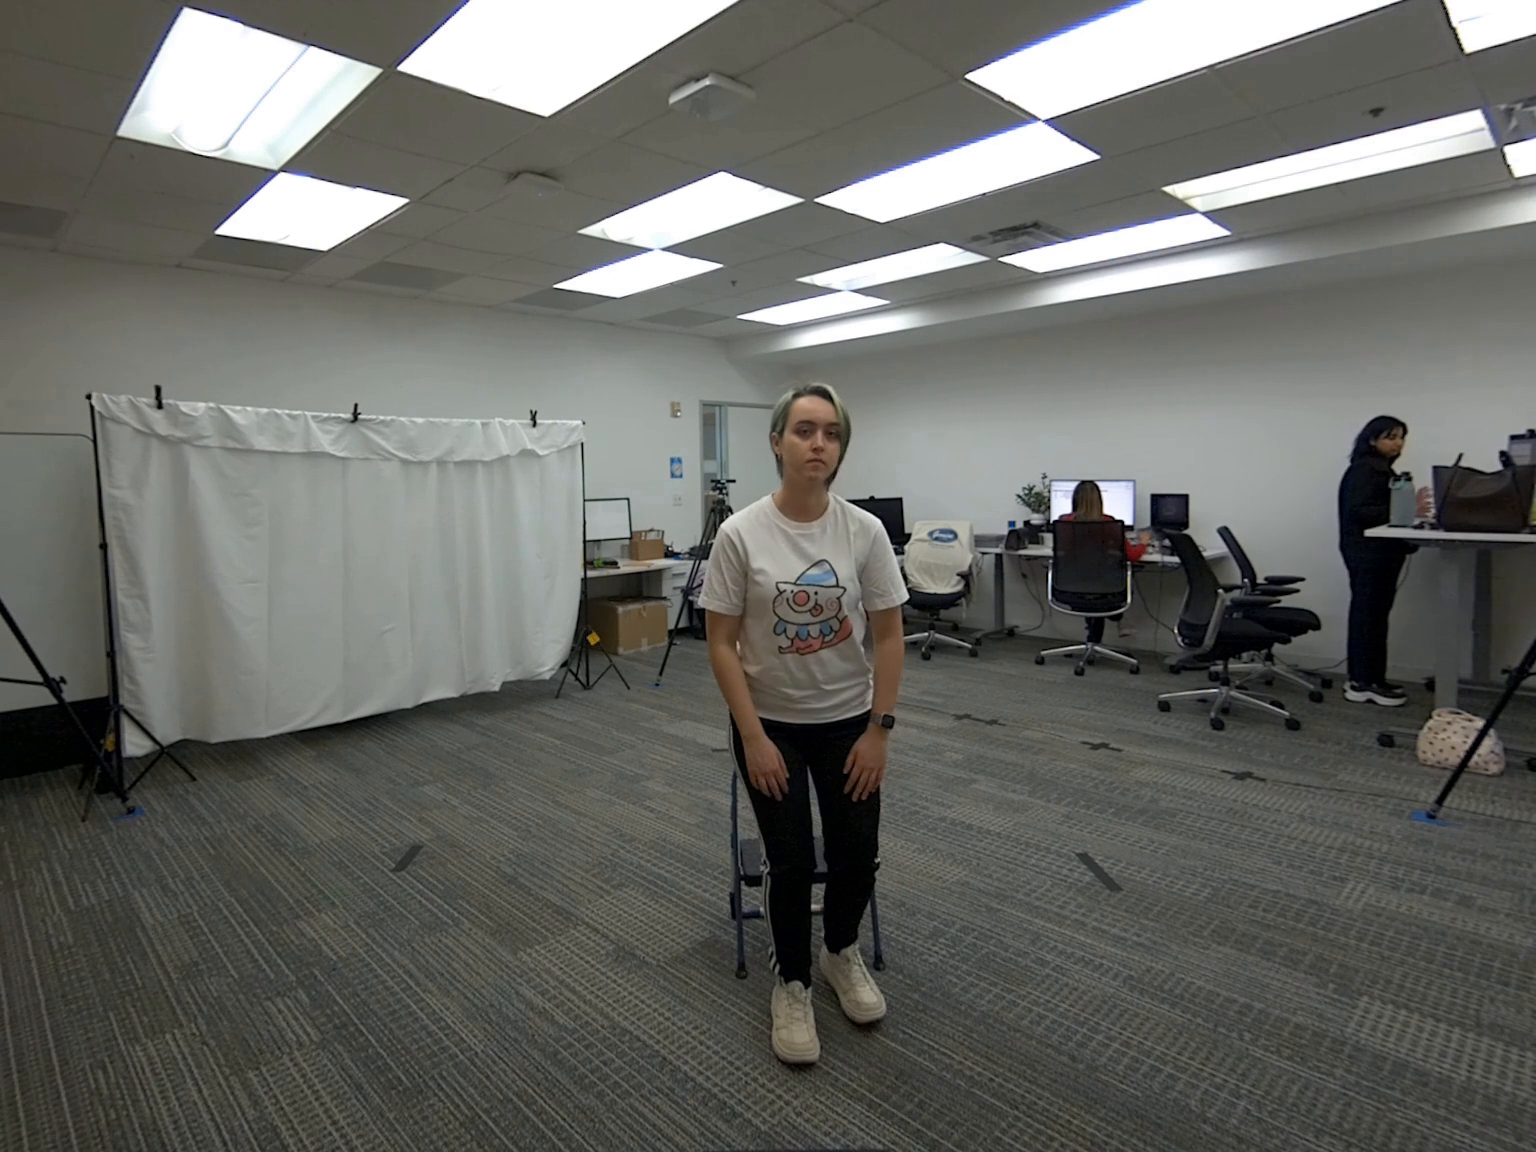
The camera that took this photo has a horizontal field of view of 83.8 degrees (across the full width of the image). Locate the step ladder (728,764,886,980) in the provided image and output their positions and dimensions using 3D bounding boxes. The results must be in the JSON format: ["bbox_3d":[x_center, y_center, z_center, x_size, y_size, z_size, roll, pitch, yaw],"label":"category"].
[{"bbox_3d":[0.104,0.806,2.565,0.429,0.603,0.352,-1,5,-5],"label":"step ladder"}]
